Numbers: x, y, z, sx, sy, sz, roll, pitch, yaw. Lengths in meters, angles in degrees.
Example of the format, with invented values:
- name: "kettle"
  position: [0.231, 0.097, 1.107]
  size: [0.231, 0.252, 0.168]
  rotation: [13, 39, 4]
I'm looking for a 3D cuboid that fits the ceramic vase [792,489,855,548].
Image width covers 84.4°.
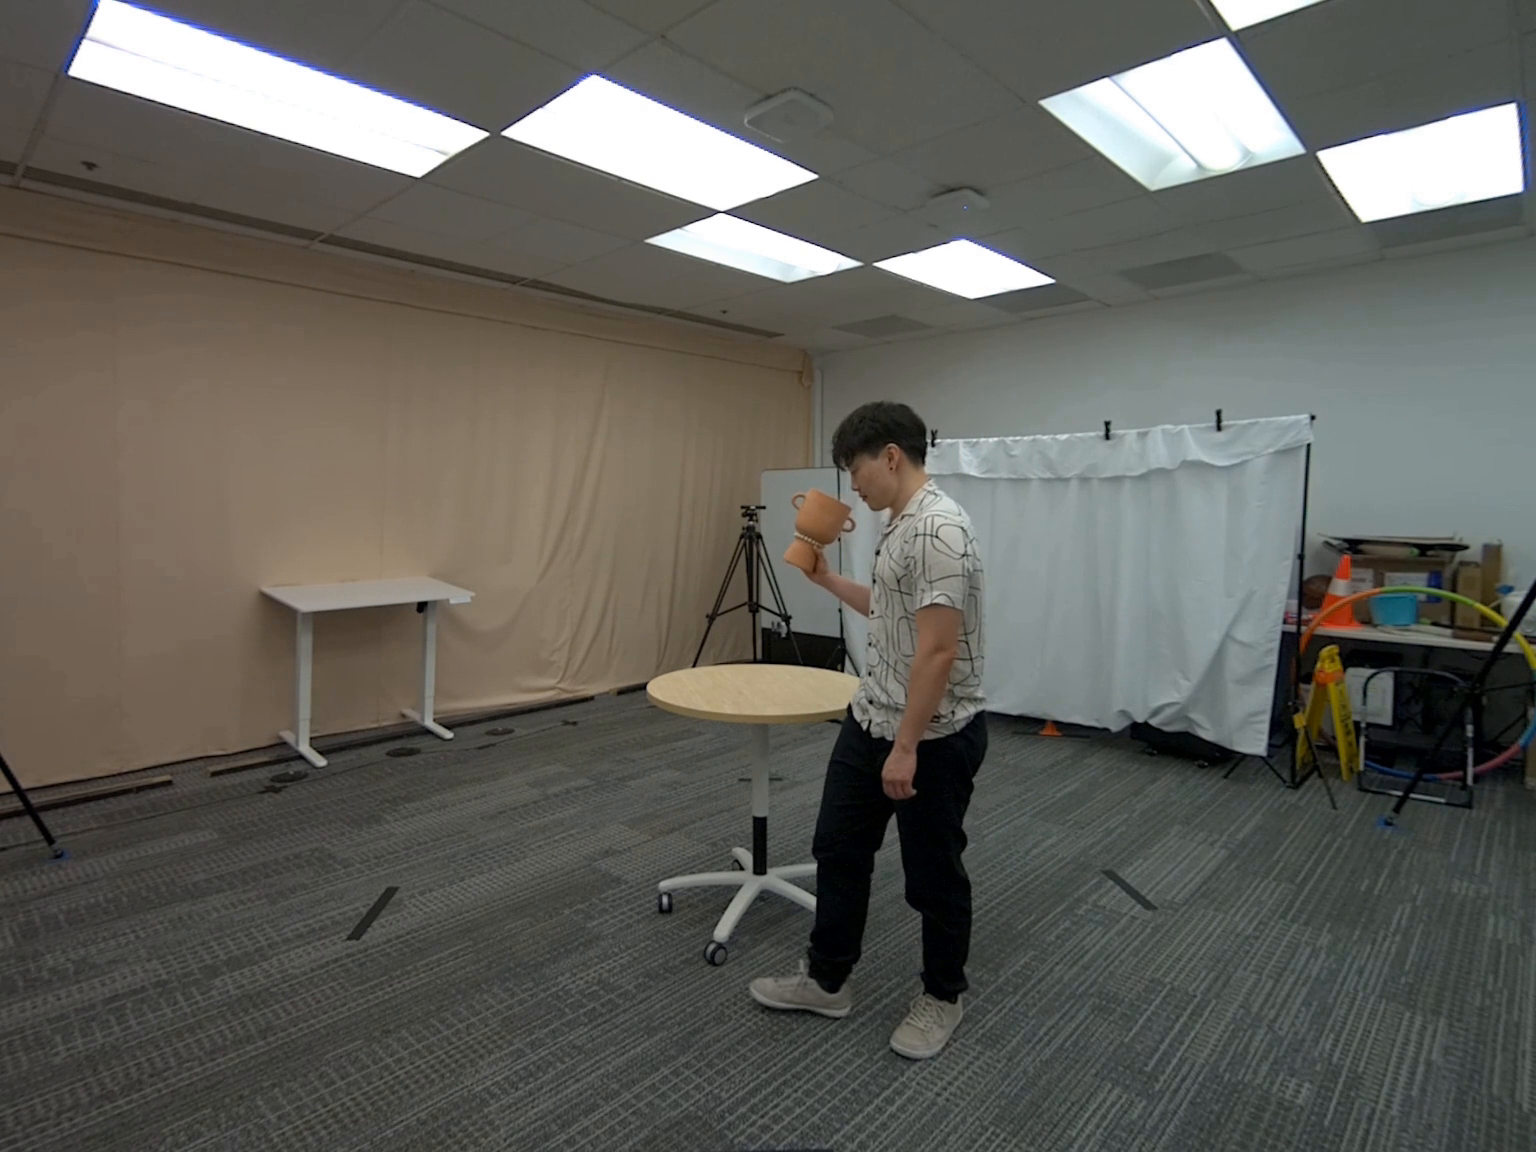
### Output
- name: "ceramic vase"
  position: [0.139, -0.129, 2.421]
  size: [0.165, 0.219, 0.130]
  rotation: [29, 6, 40]
